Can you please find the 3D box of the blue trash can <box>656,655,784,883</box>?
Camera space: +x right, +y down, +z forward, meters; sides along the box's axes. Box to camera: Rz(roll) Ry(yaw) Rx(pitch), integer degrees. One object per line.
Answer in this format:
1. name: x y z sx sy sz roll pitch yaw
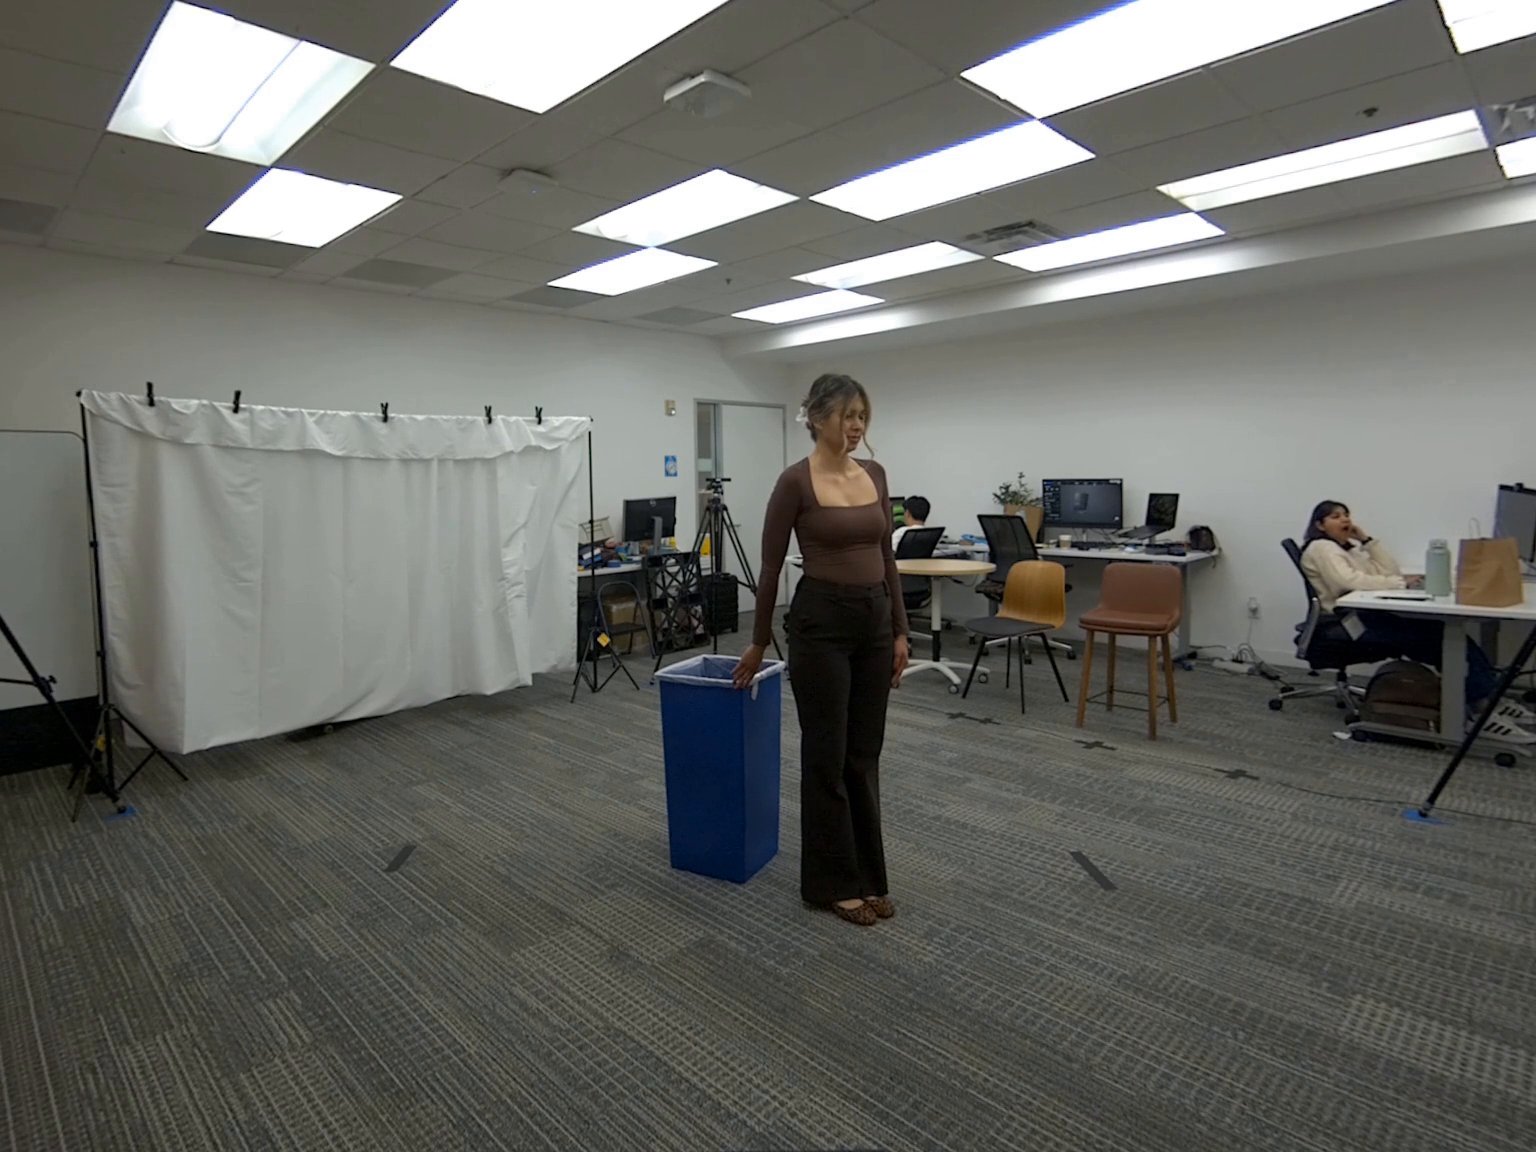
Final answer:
1. blue trash can: -0.157 0.683 3.116 0.387 0.712 0.366 1 3 26
